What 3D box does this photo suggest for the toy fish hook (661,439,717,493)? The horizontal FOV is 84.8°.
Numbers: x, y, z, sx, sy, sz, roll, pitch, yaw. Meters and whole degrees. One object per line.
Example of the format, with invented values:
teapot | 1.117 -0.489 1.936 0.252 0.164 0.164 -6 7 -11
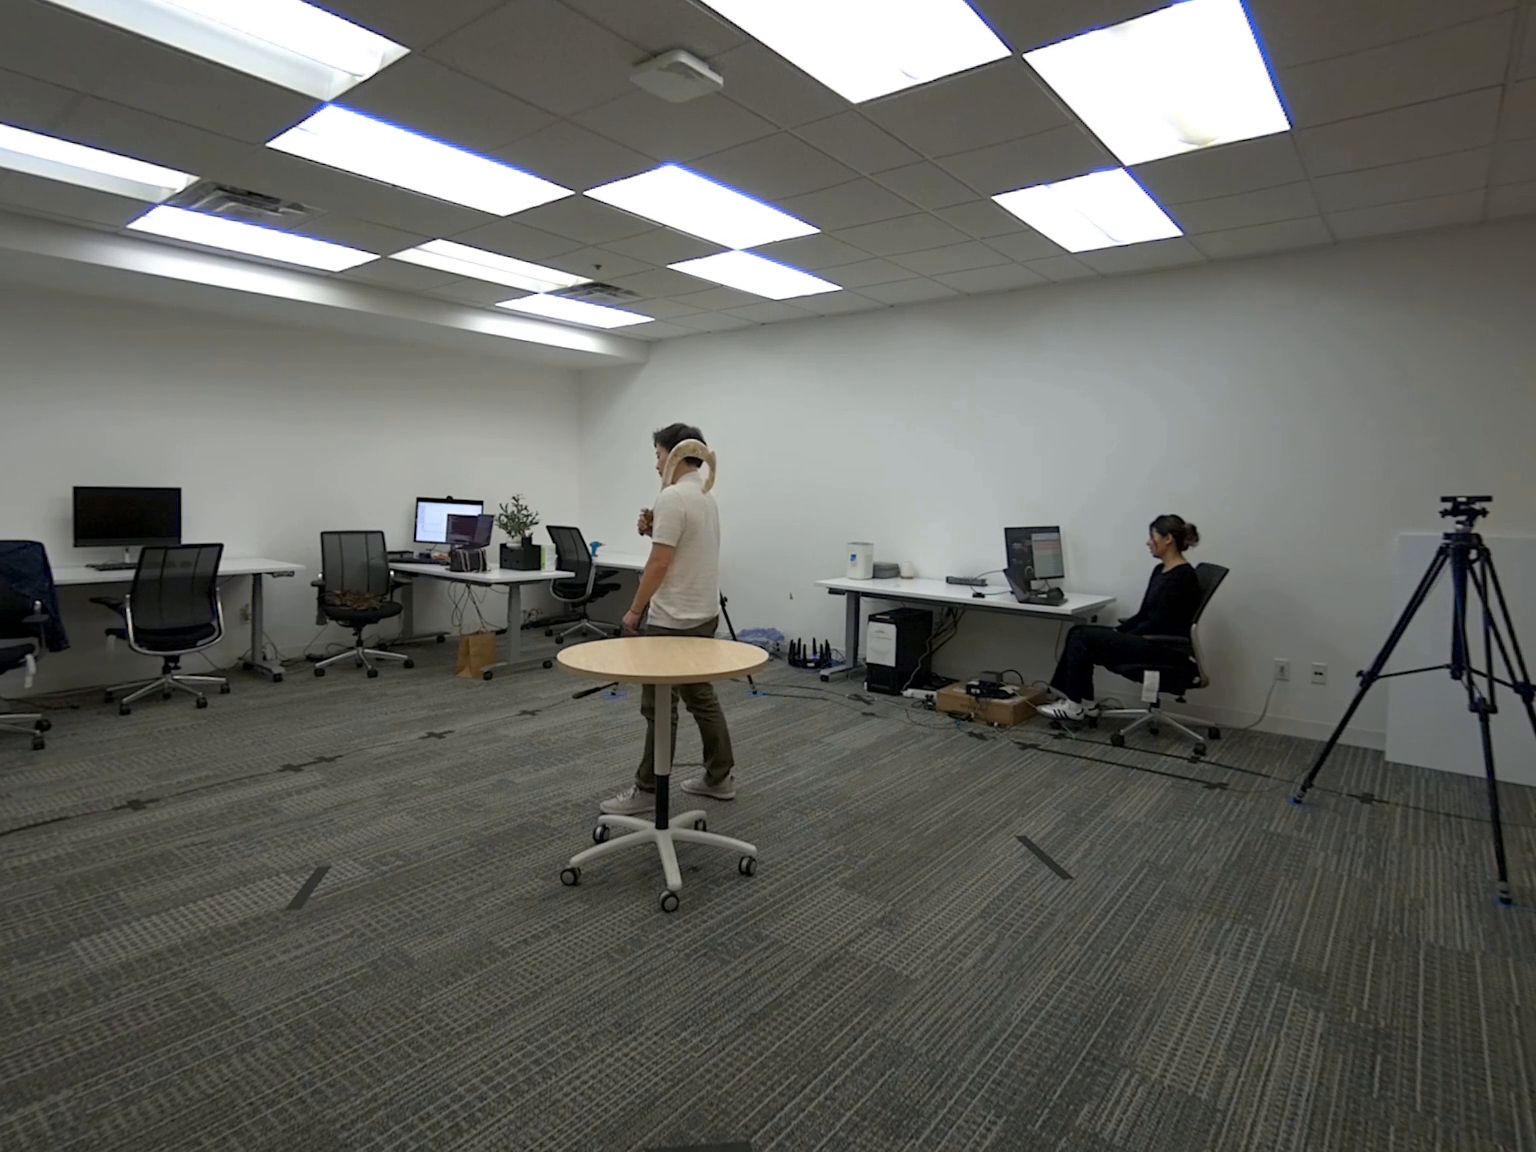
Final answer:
toy fish hook | -0.417 -0.364 3.697 0.226 0.504 0.048 34 18 3
